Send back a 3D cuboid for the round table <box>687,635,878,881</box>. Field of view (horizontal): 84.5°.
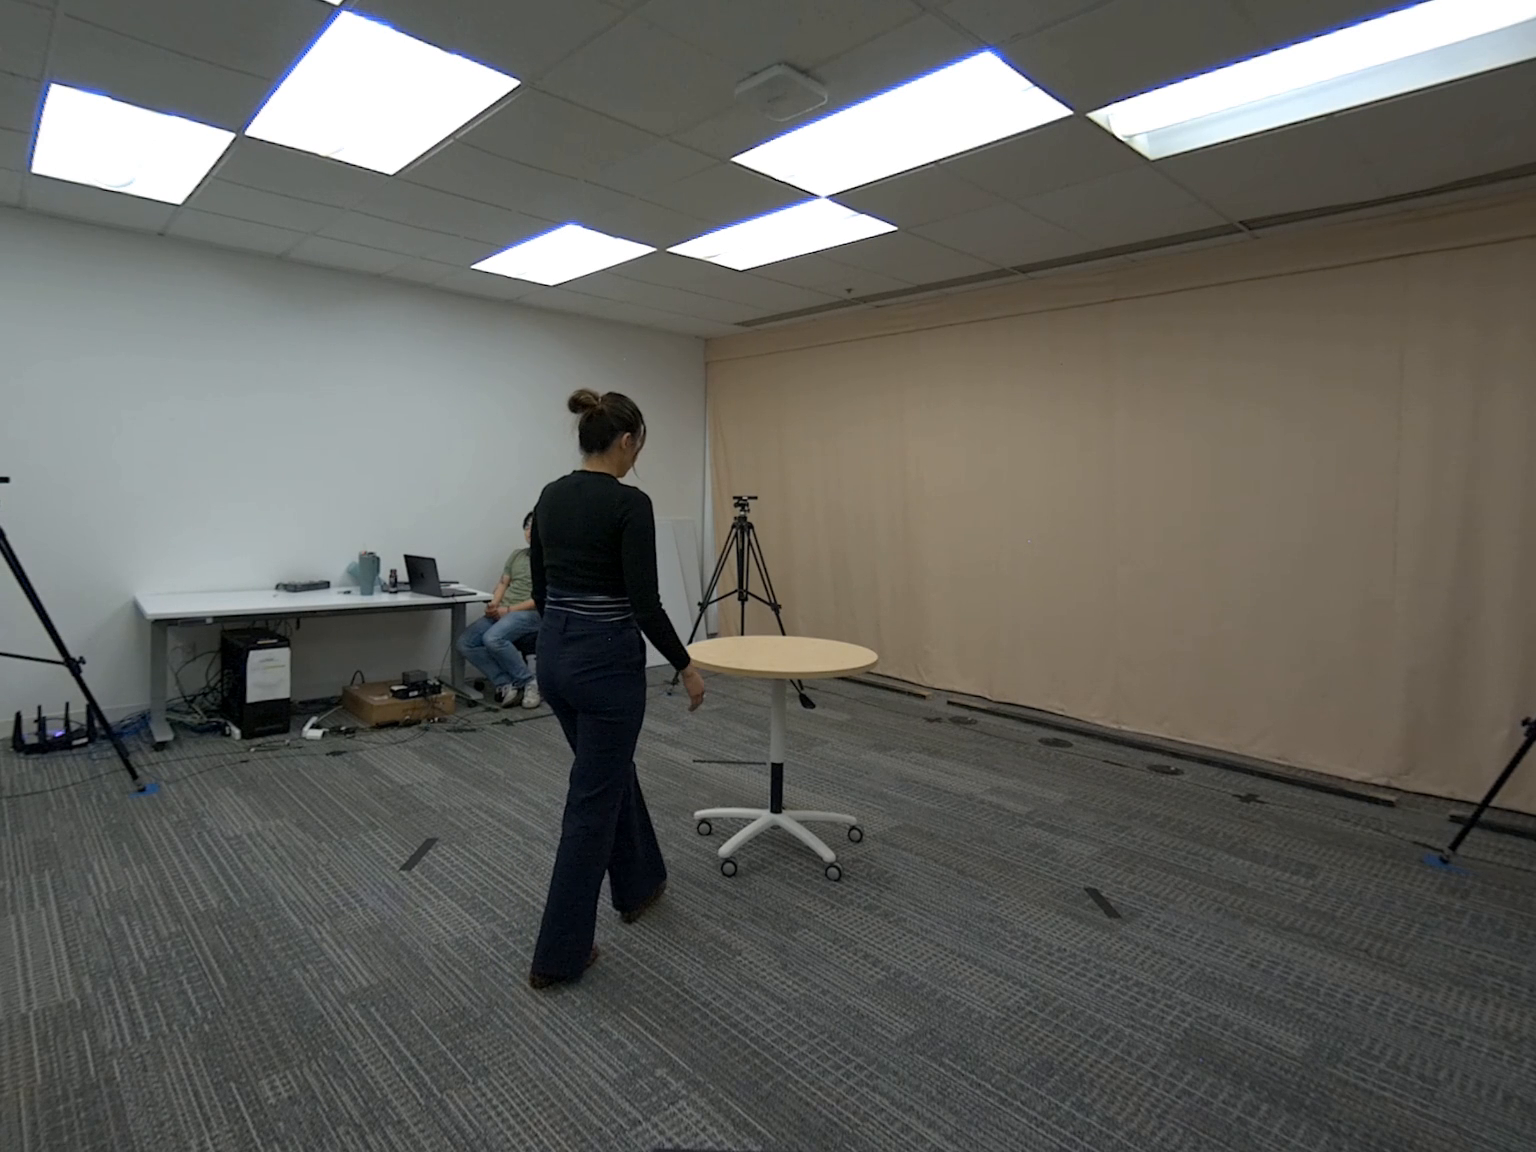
[{"bbox_3d":[0.031,0.696,3.346,0.763,0.792,0.766,1,4,-1],"label":"round table"}]
